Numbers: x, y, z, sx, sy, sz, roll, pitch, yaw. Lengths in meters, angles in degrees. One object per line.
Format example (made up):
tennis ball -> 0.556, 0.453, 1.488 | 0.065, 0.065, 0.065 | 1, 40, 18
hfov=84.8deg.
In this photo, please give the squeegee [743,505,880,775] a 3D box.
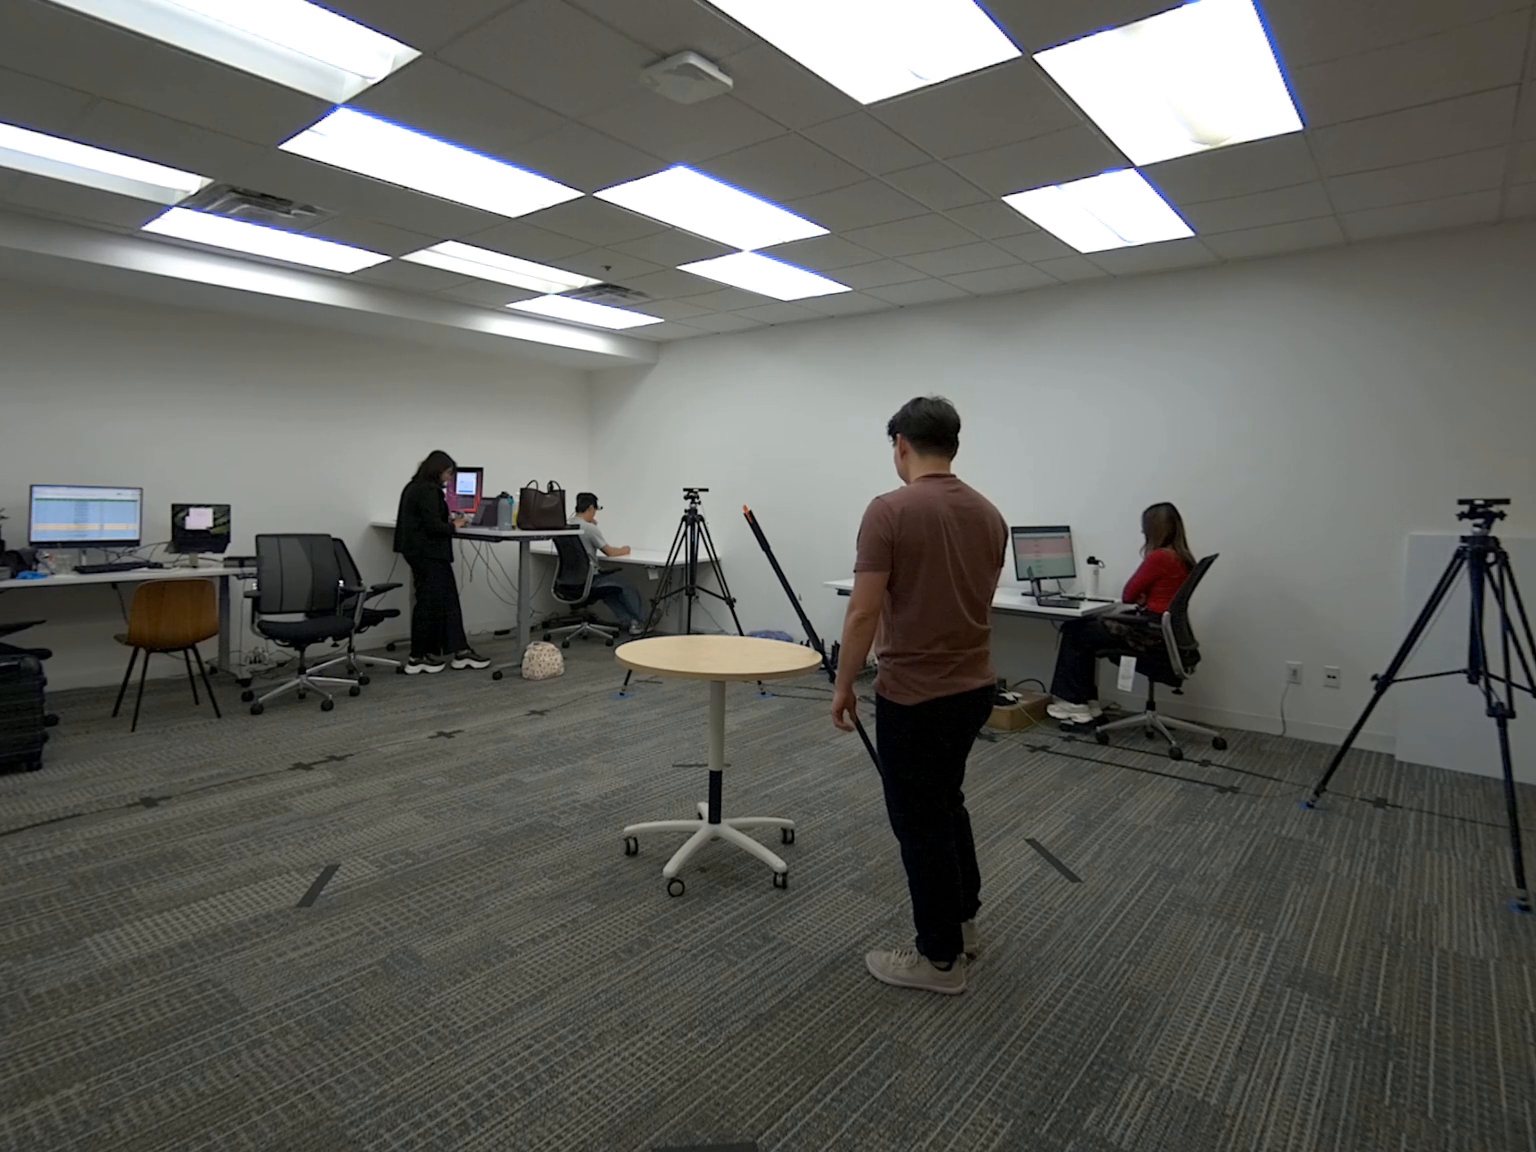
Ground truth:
squeegee -> 0.255, 0.397, 3.282 | 0.053, 1.525, 0.442 | -29, 6, -6
